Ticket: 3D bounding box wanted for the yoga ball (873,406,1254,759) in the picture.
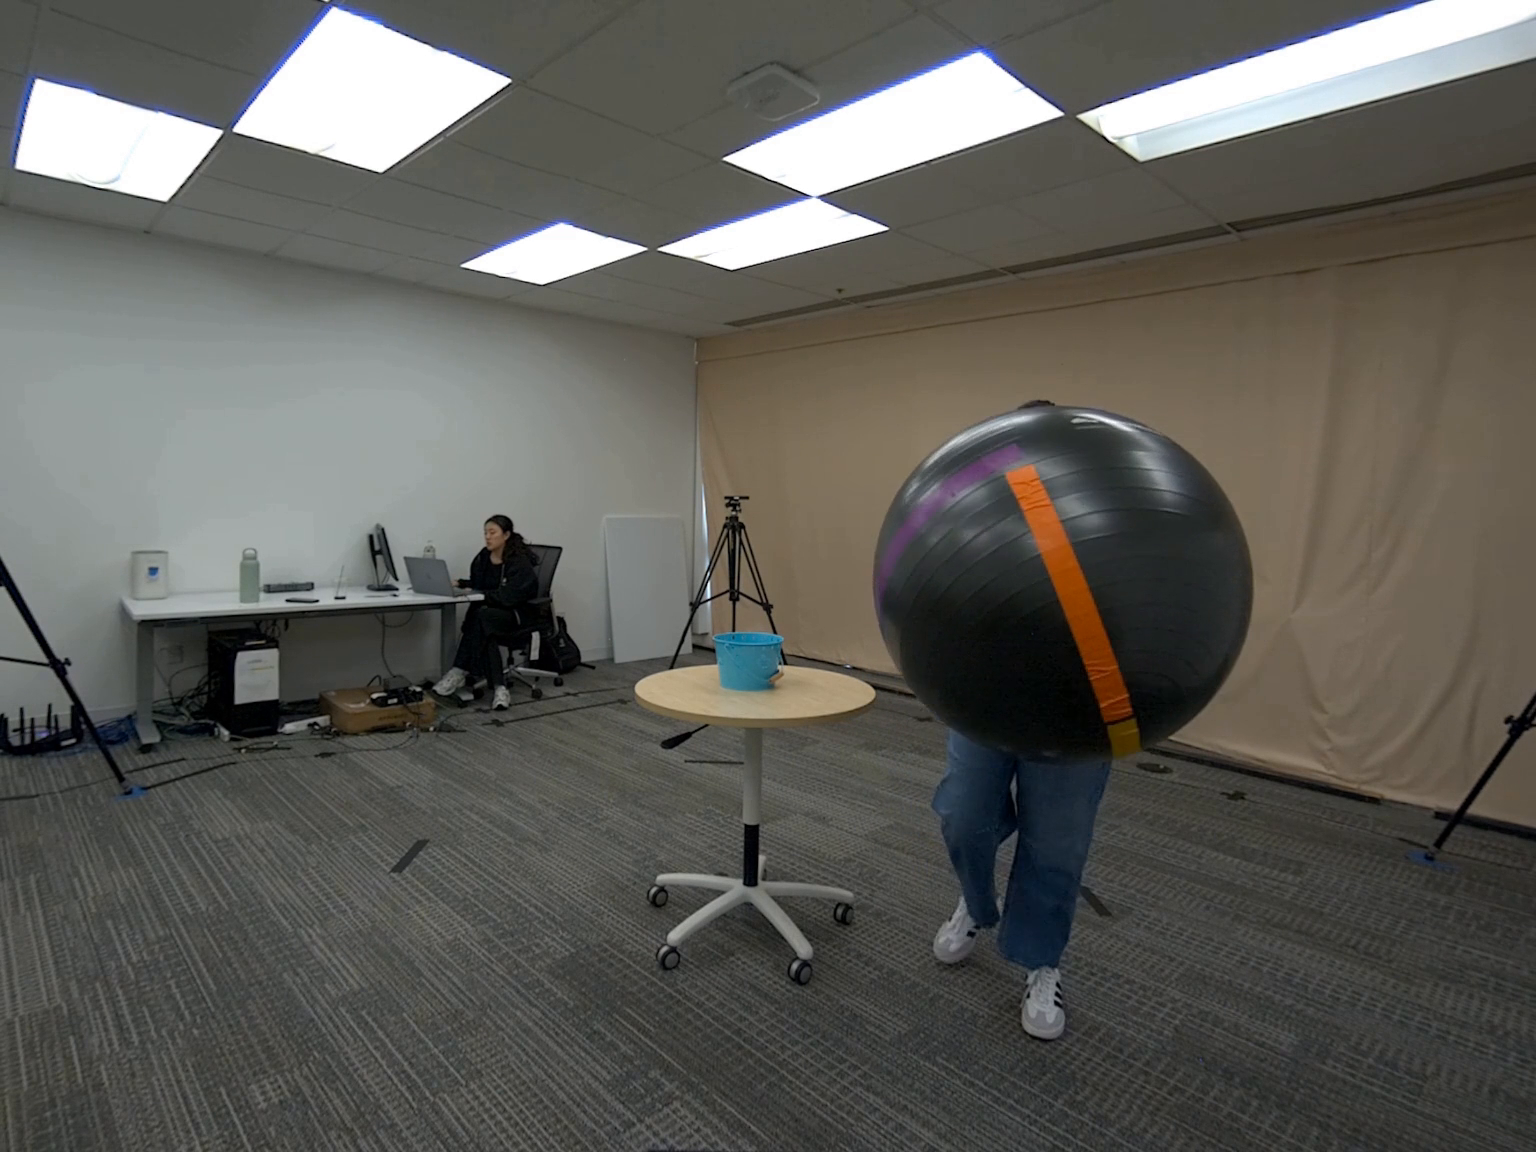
[{"bbox_3d":[0.614,0.027,1.801,0.757,0.756,0.761,1,4,-1],"label":"yoga ball"}]
